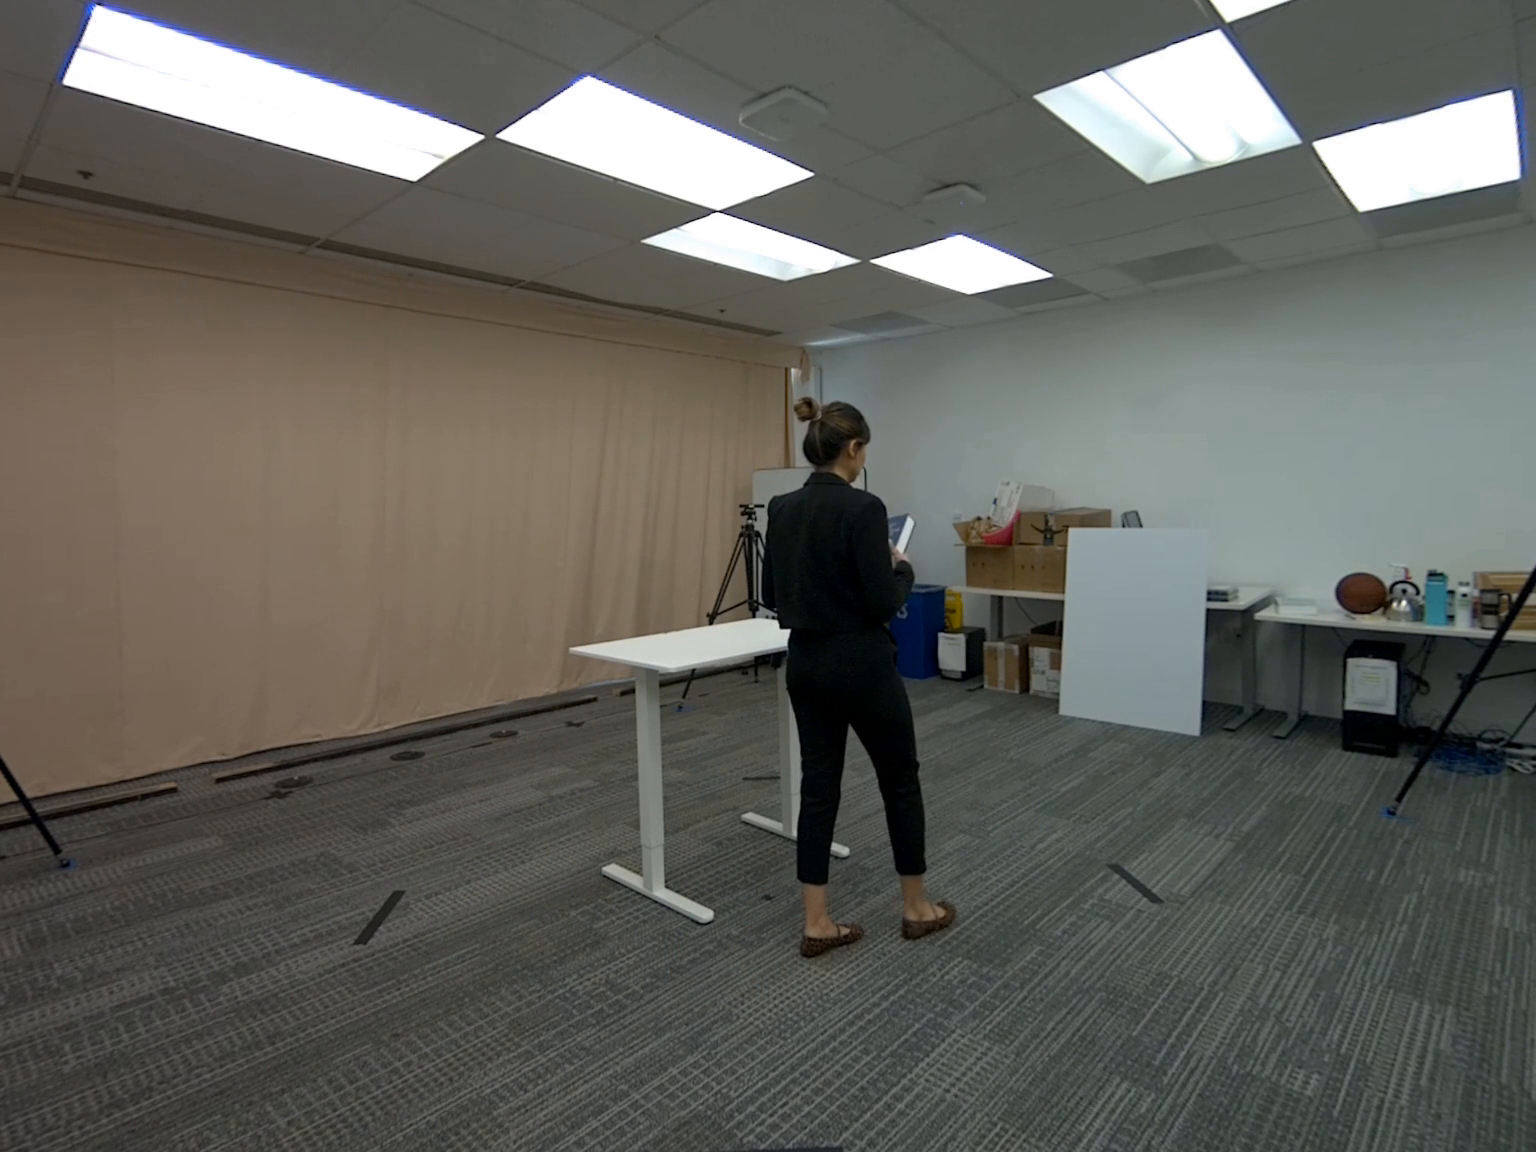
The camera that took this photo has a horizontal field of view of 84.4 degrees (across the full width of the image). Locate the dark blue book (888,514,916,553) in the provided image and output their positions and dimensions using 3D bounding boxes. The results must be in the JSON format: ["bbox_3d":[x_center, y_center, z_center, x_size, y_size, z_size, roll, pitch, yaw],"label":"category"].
[{"bbox_3d":[0.392,-0.095,2.799,0.168,0.245,0.044,-13,-51,47],"label":"dark blue book"}]
